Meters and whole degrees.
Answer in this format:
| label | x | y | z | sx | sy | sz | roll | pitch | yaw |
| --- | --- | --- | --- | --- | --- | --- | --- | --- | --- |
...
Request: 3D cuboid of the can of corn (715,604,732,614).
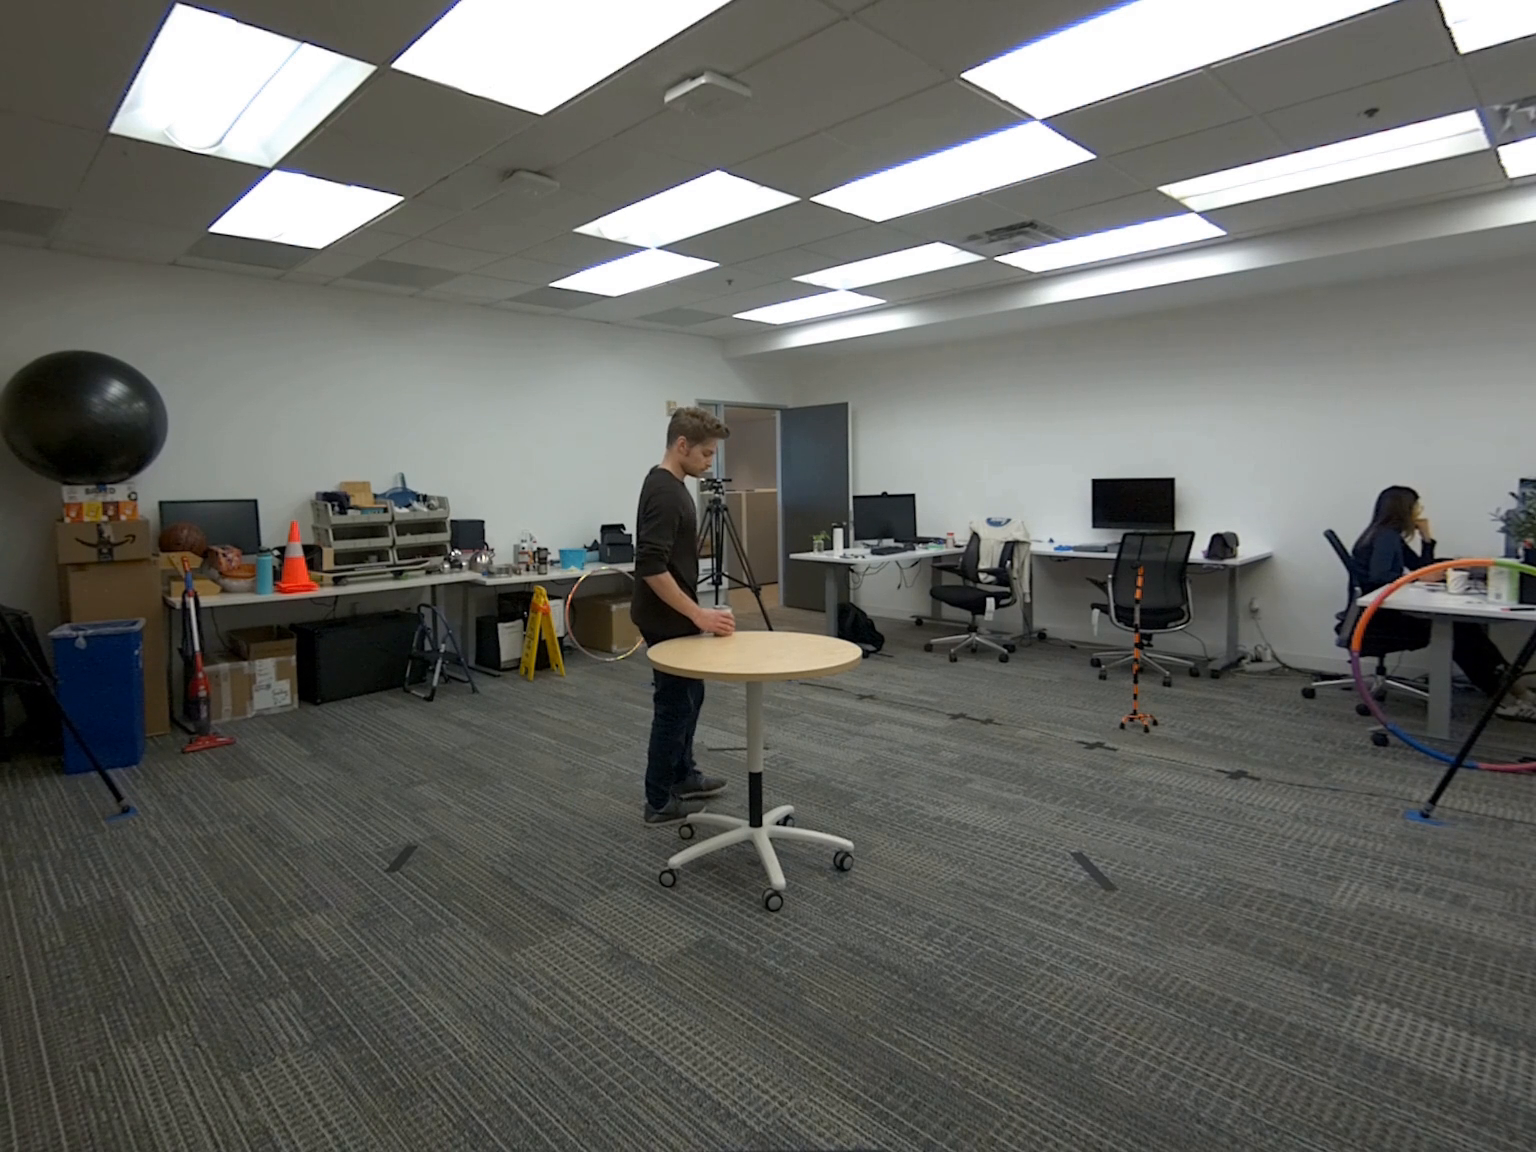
| label | x | y | z | sx | sy | sz | roll | pitch | yaw |
| --- | --- | --- | --- | --- | --- | --- | --- | --- | --- |
| can of corn | -0.176 | 0.174 | 3.365 | 0.074 | 0.110 | 0.074 | 1 | 4 | -2 |
